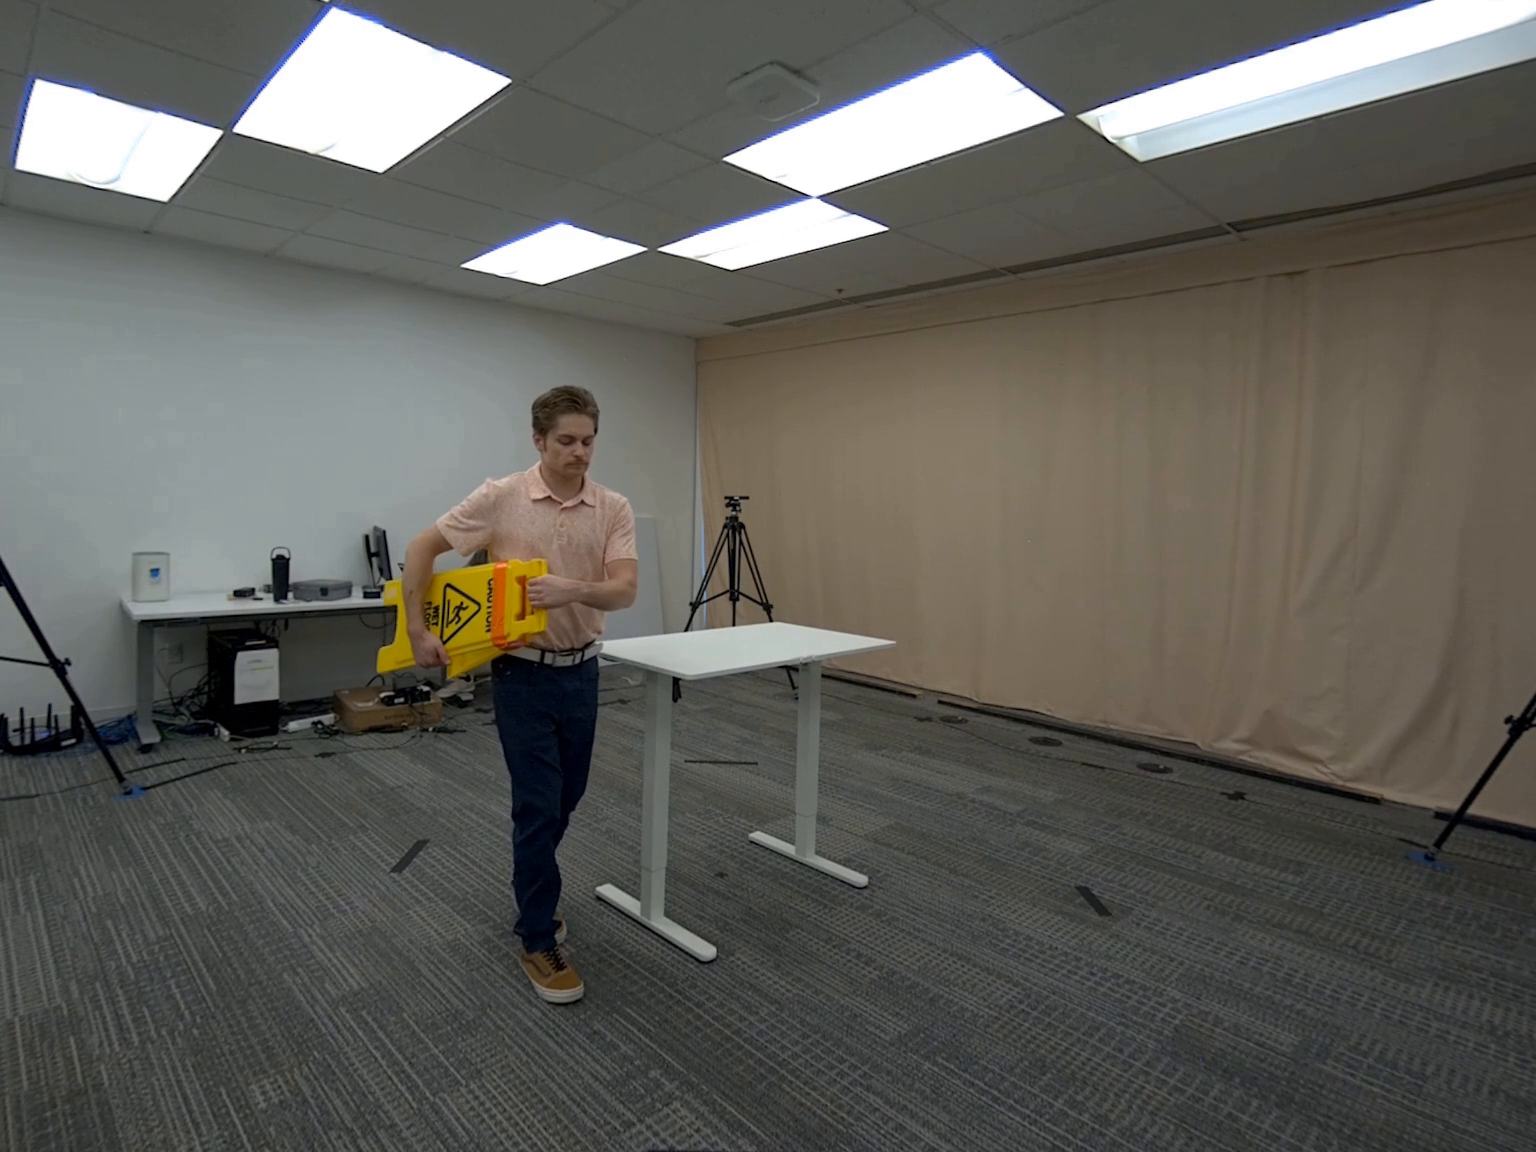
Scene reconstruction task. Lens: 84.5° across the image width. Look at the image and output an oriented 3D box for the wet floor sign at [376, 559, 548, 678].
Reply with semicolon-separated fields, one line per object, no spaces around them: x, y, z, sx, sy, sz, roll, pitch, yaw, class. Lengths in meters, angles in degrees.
-0.850;0.116;2.399;0.657;0.285;0.281;-15;-19;40;wet floor sign
